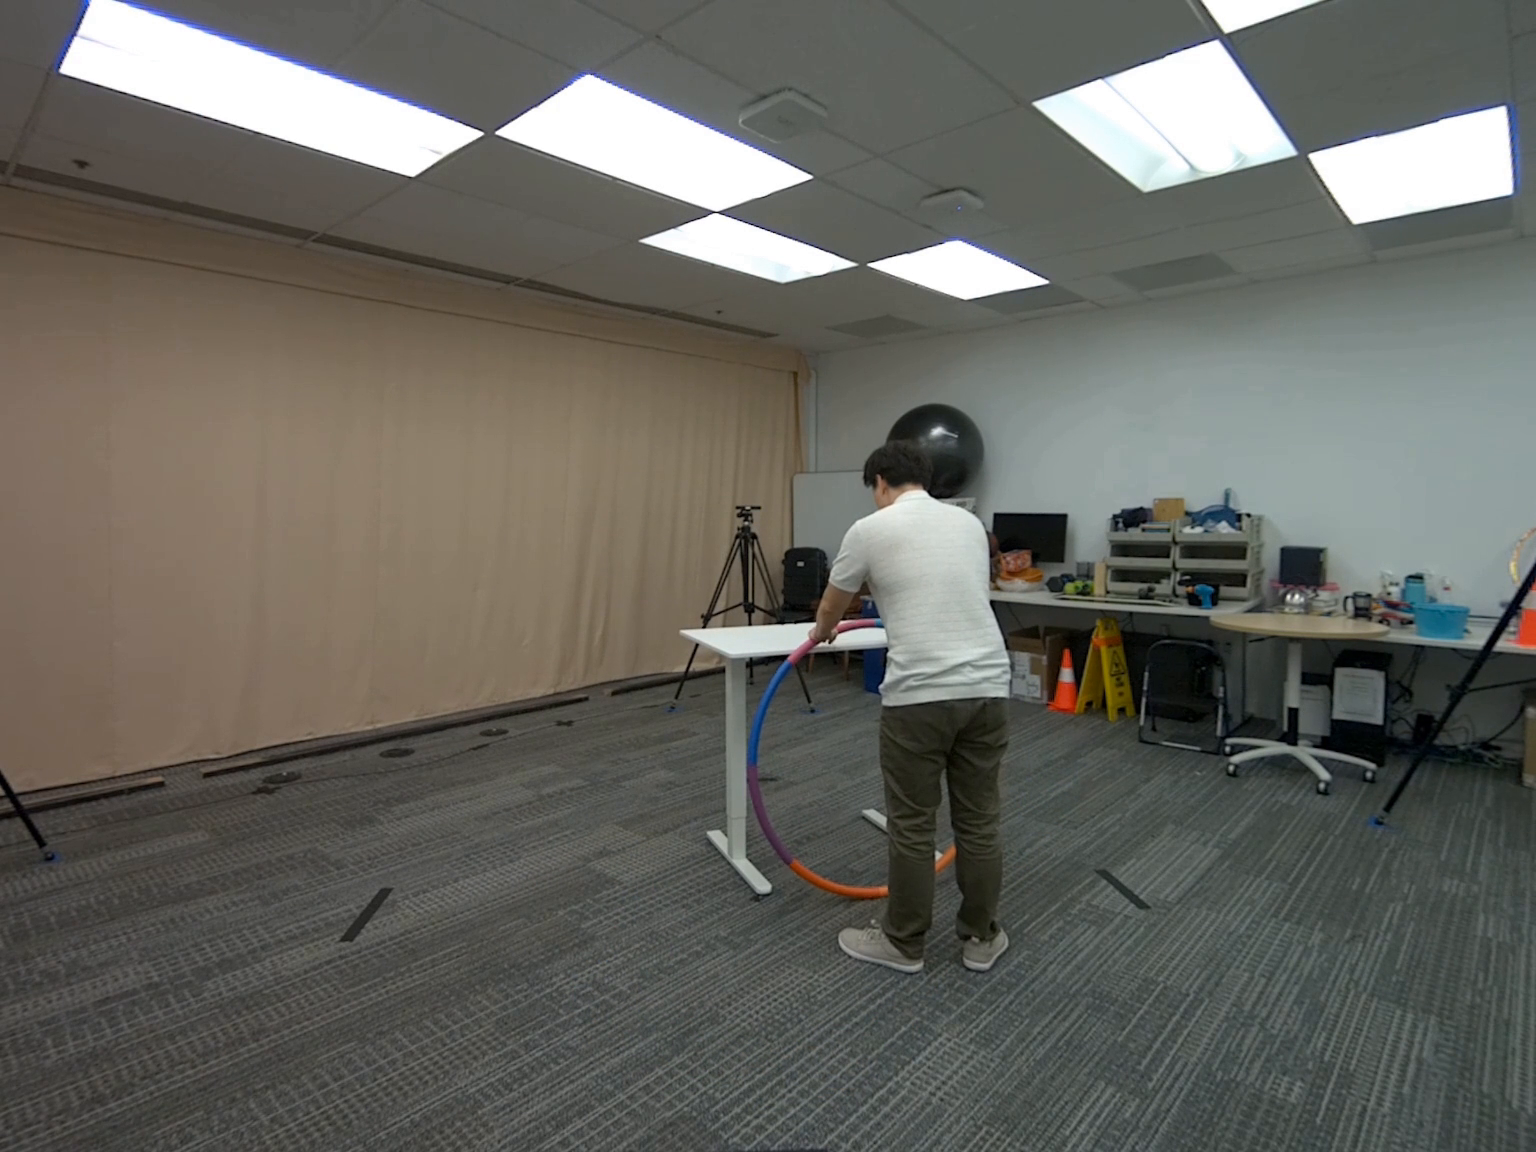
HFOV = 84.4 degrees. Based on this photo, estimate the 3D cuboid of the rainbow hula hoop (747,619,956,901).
[{"bbox_3d":[0.399,0.654,3.030,0.960,0.981,0.036,-1,-4,-19],"label":"rainbow hula hoop"}]
